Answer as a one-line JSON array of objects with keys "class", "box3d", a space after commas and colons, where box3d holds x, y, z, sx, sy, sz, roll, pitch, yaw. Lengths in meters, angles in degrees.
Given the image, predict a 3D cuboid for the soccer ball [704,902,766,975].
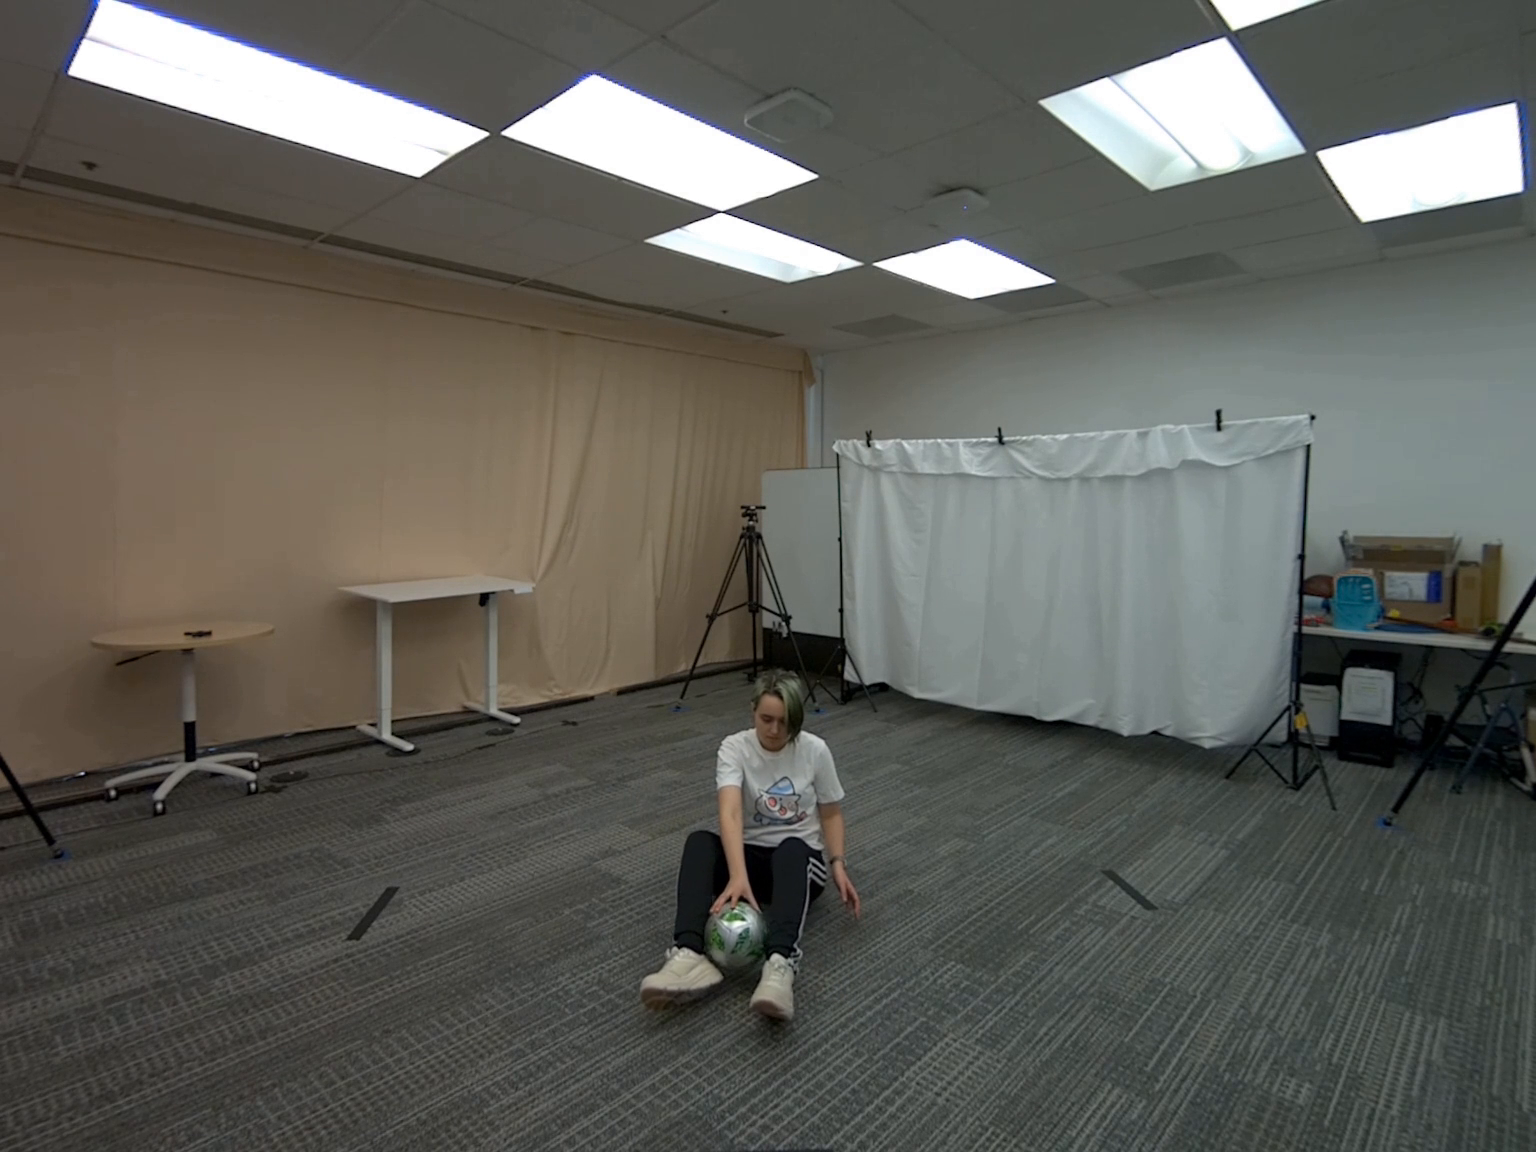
[{"class": "soccer ball", "box3d": [-0.089, 1.048, 2.453, 0.187, 0.187, 0.188, 0, 4, -2]}]
